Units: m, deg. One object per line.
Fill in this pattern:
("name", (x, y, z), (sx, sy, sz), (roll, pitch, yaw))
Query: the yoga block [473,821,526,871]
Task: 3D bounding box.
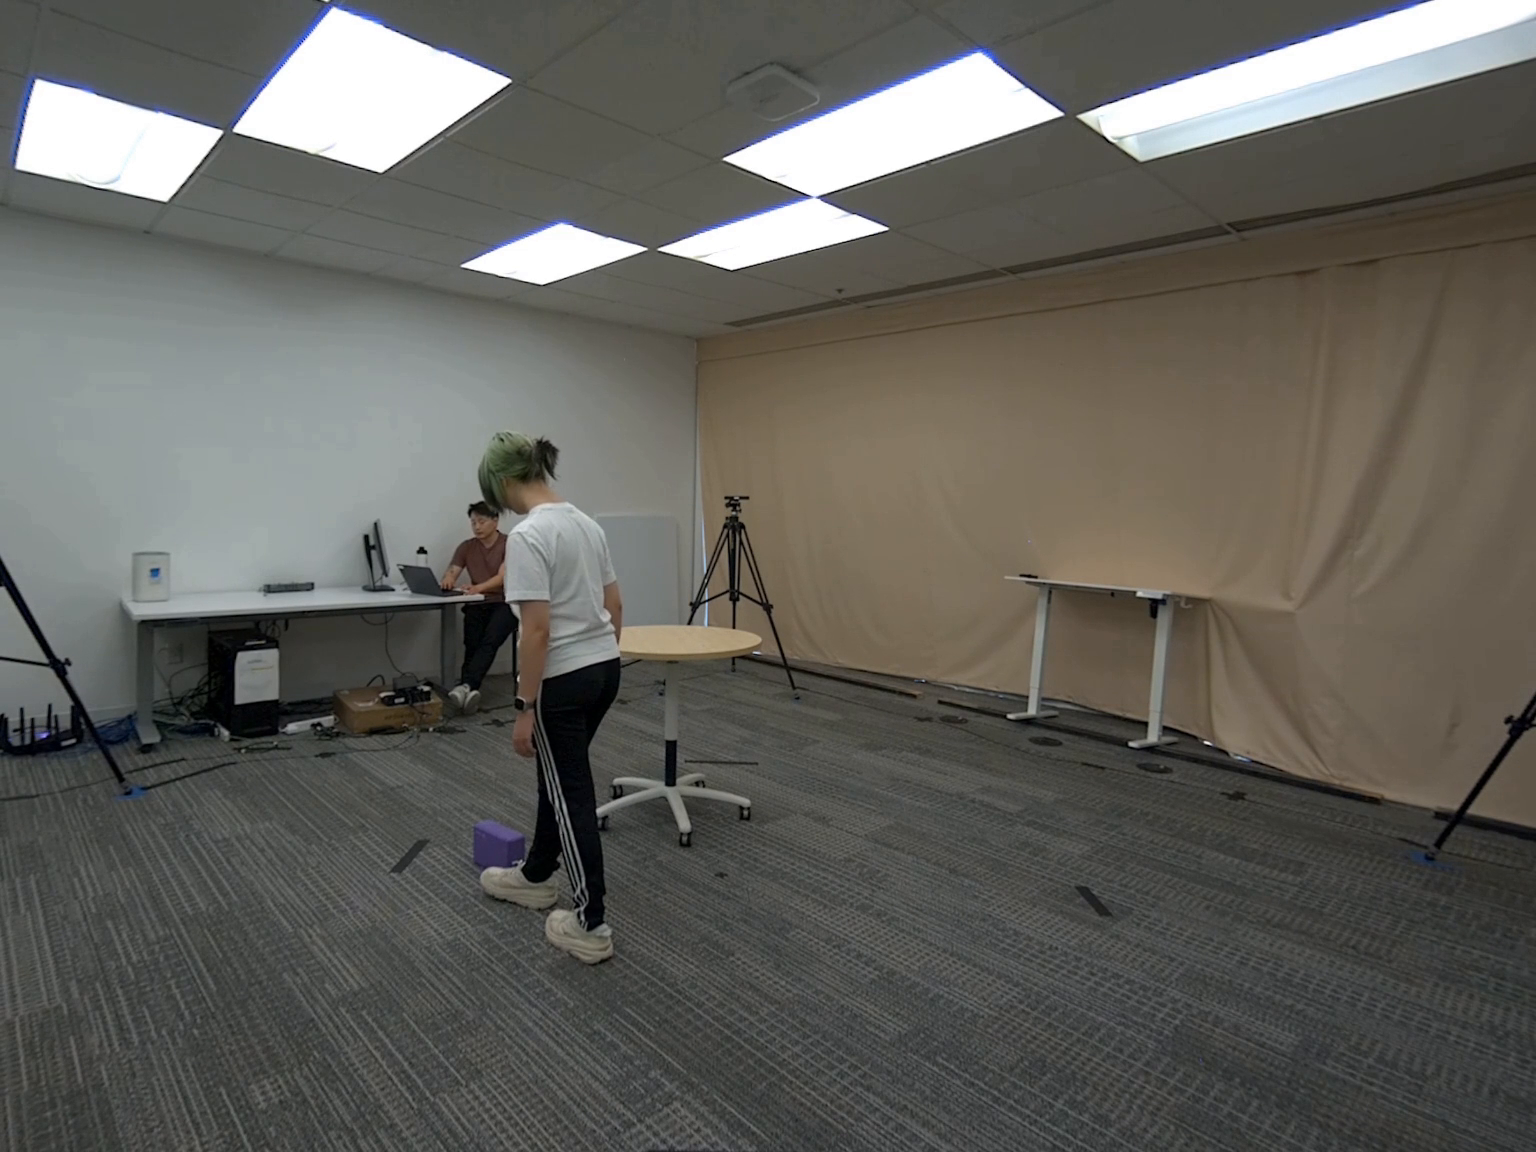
("yoga block", (-1.004, 1.009, 3.109), (0.235, 0.149, 0.075), (4, 4, 39))
